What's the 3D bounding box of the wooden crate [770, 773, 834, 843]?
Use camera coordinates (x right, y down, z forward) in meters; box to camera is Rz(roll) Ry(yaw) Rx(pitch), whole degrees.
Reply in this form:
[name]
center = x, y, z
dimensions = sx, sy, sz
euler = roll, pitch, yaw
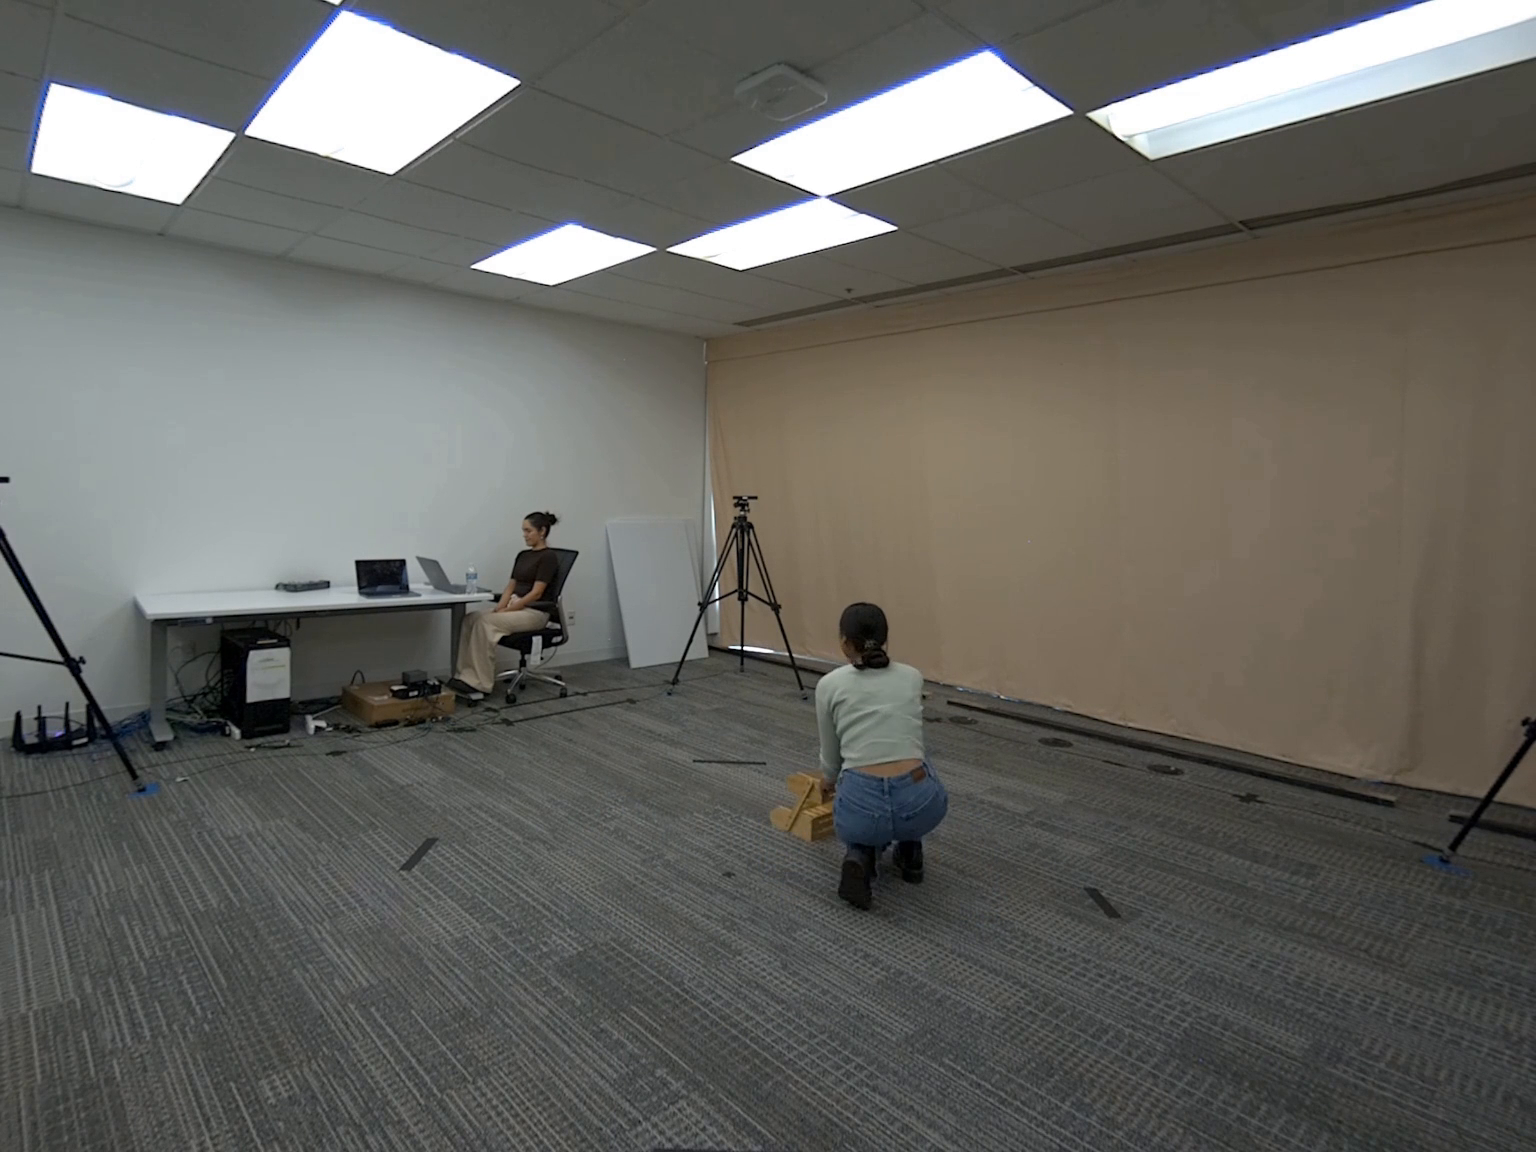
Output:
[wooden crate]
center = 0.209, 0.937, 3.596
dimensions = 0.317, 0.272, 0.310
euler = -2, 6, -43
